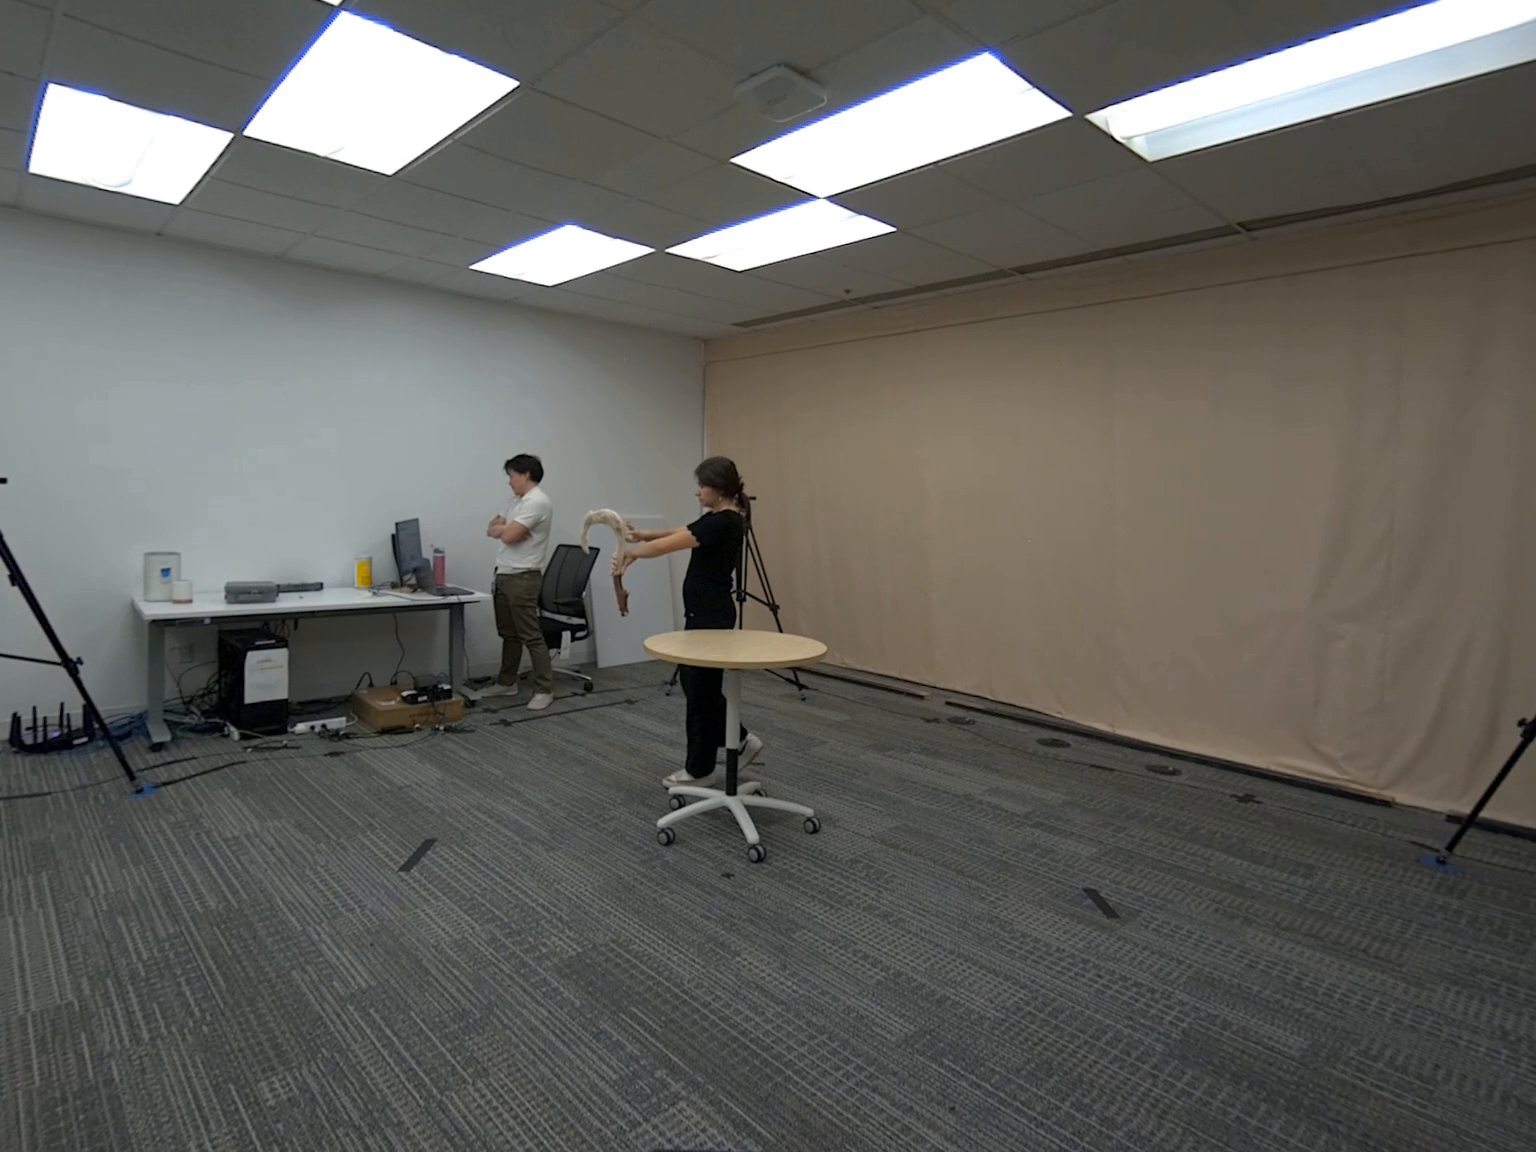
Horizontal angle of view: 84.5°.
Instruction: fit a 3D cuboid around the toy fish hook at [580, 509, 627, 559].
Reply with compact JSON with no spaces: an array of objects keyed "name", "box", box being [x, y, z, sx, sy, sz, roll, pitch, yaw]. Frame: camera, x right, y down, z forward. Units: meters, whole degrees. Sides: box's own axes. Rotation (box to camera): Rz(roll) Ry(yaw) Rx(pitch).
[{"name":"toy fish hook","box":[-0.761,-0.057,3.927,0.227,0.505,0.048,-4,4,15]}]
